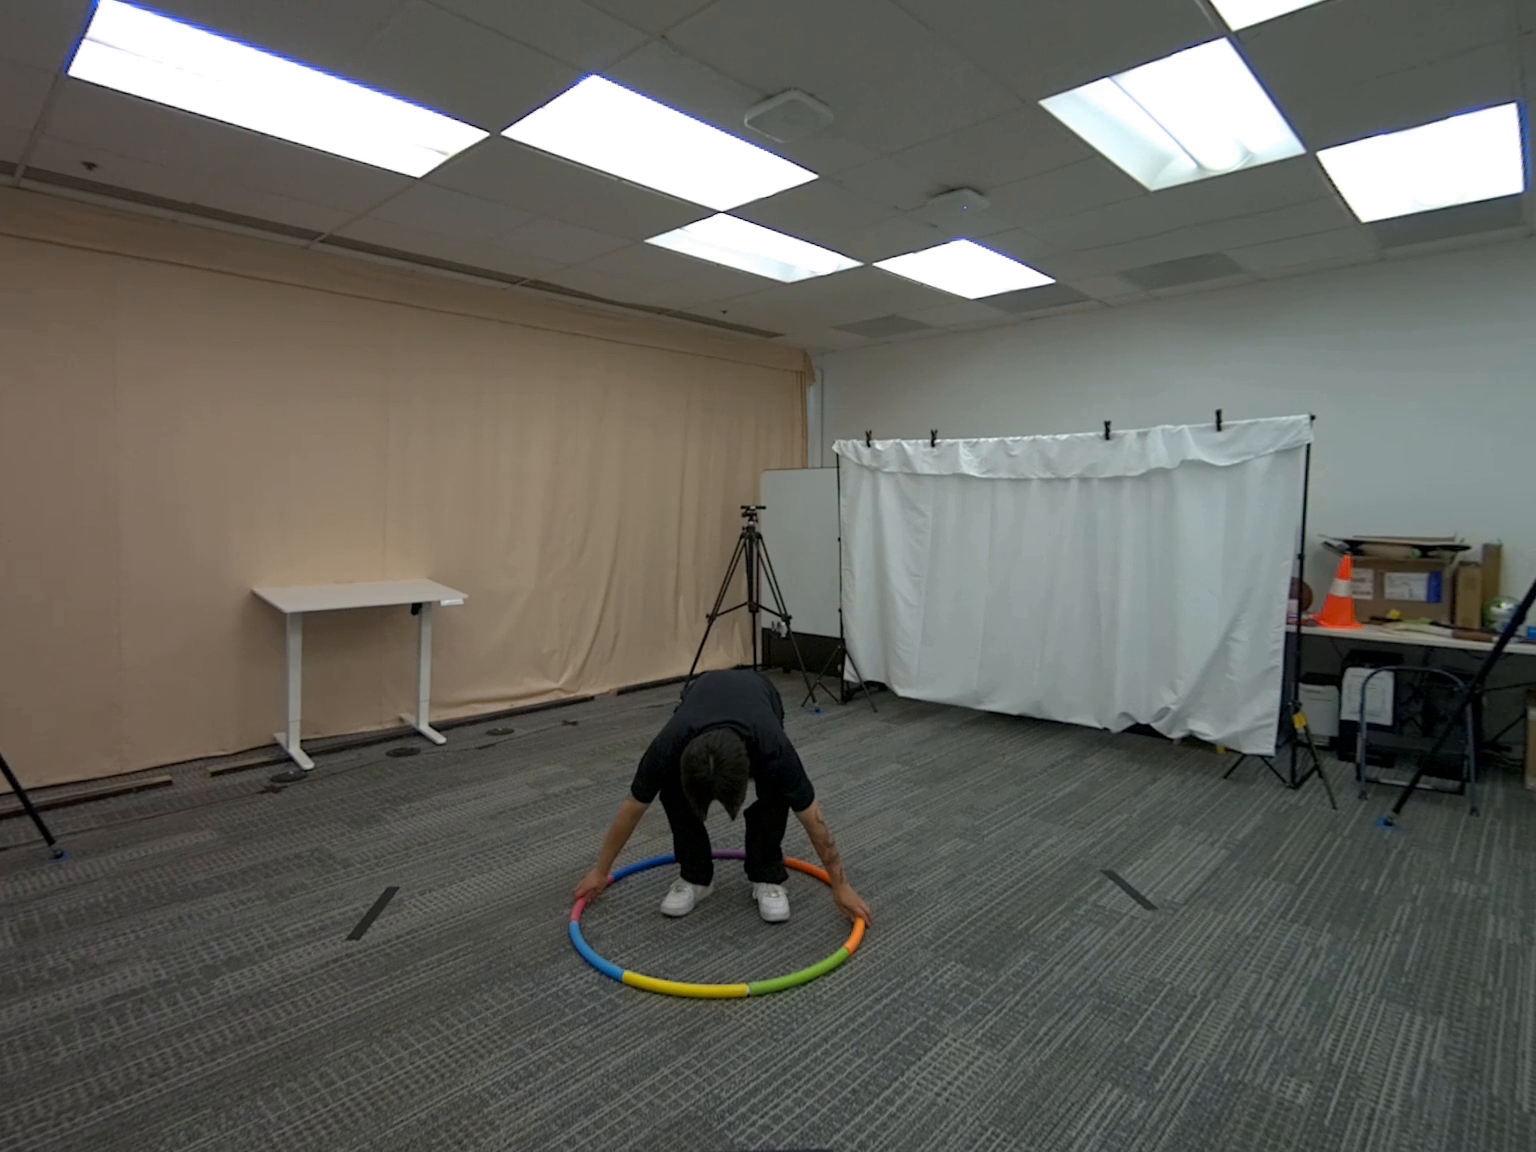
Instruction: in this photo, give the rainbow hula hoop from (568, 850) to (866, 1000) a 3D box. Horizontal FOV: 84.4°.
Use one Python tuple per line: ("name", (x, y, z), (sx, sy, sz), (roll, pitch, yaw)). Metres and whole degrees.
("rainbow hula hoop", (-0.168, 1.125, 2.858), (0.978, 0.035, 0.982), (-1, 4, -2))
